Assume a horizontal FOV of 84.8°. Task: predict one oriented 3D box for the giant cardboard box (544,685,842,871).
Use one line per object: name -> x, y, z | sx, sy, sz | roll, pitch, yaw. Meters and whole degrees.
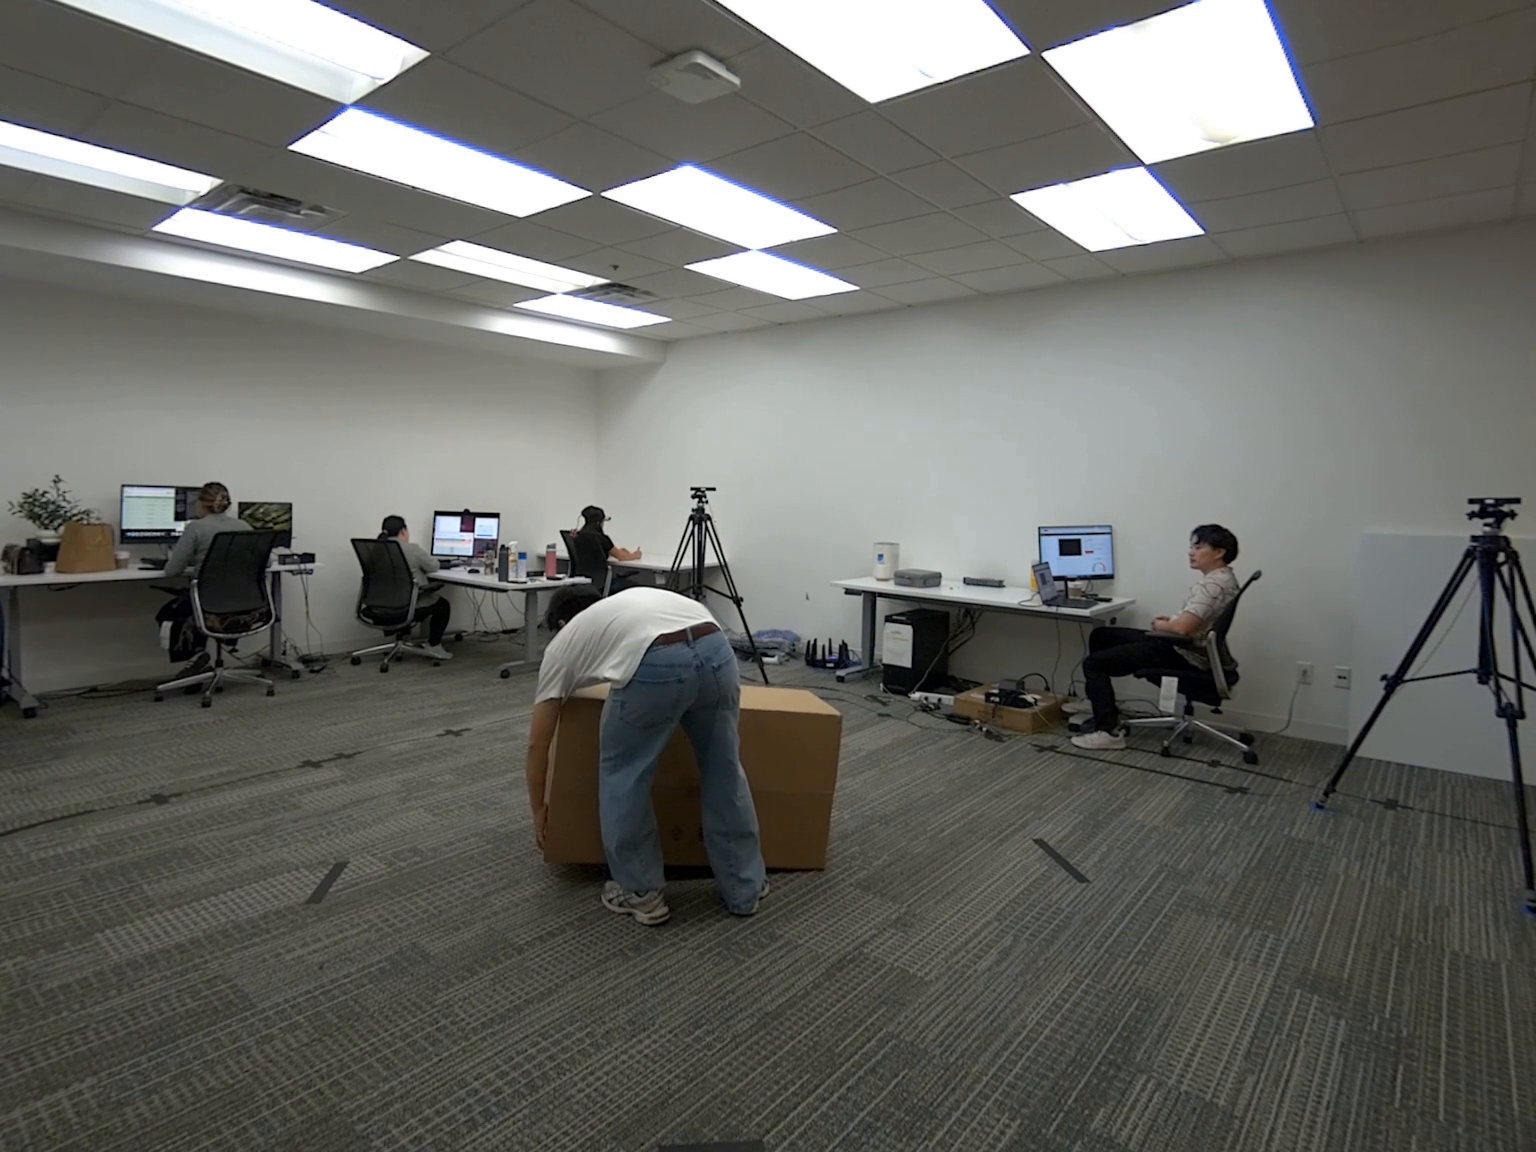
giant cardboard box -> -0.308, 0.724, 3.213 | 1.010, 0.576, 0.434 | 5, 3, -13
